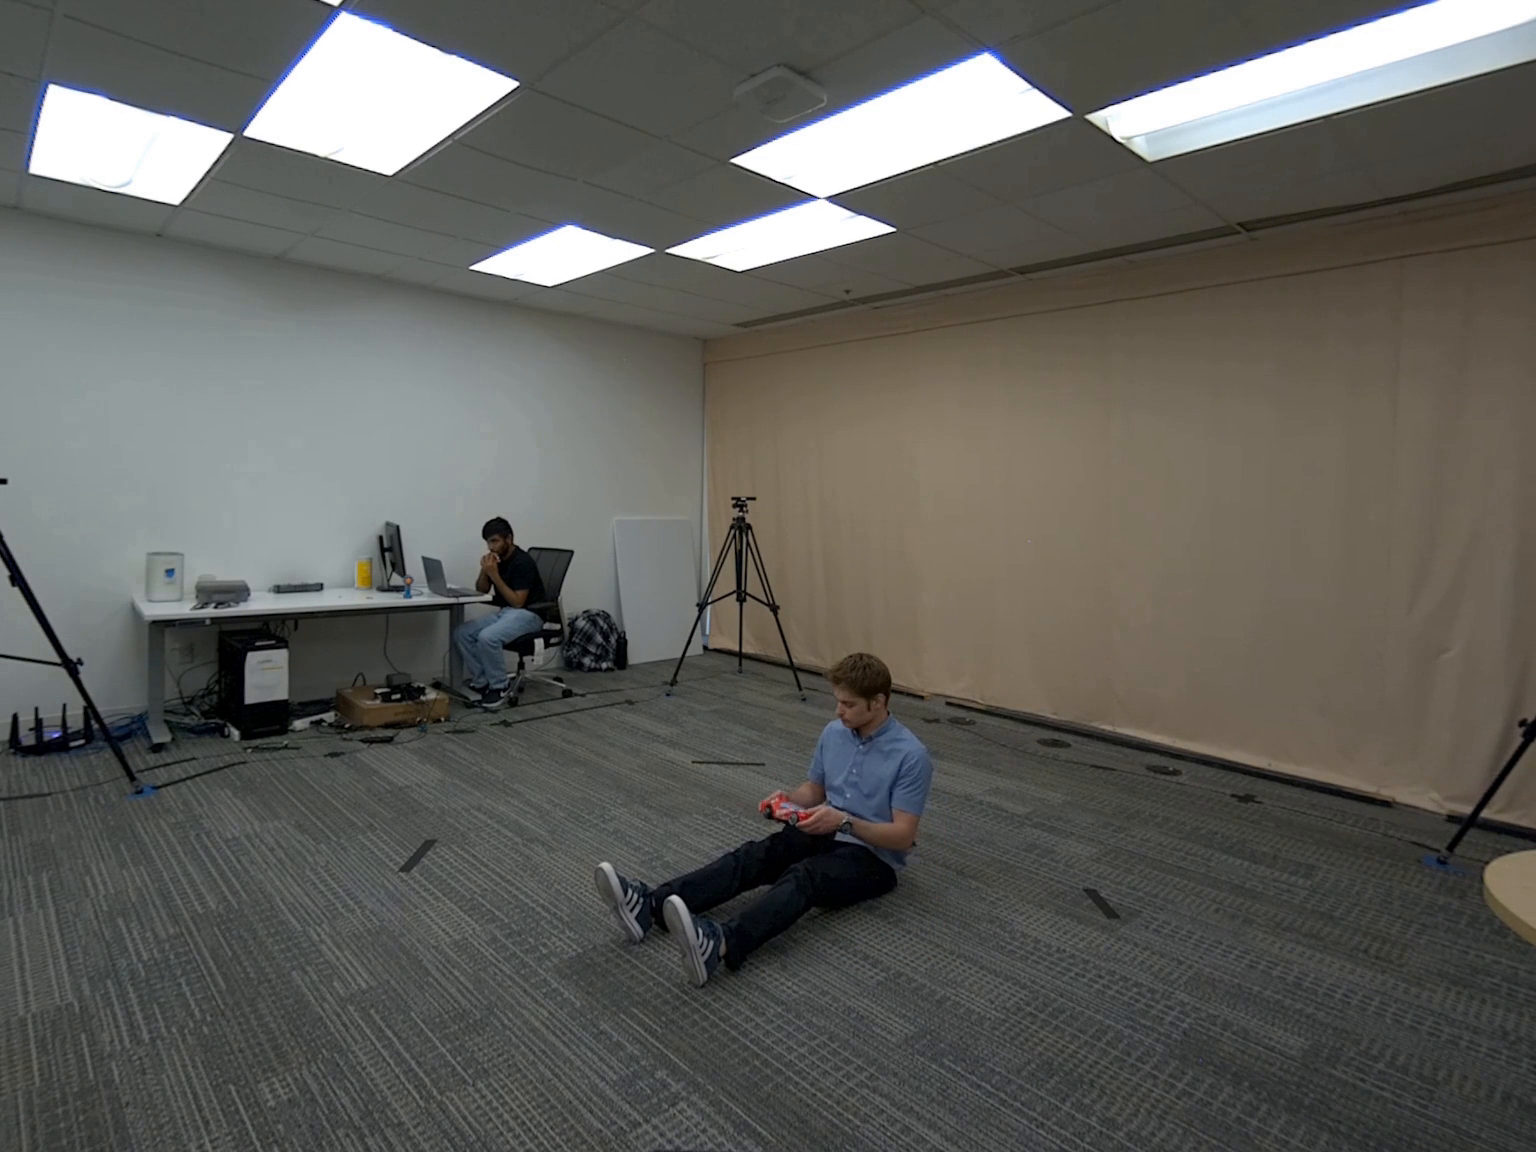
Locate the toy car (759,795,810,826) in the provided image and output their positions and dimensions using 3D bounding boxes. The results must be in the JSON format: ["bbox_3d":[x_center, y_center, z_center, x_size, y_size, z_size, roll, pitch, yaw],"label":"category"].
[{"bbox_3d":[0.065,0.826,2.920,0.127,0.083,0.260,25,-8,-30],"label":"toy car"}]
